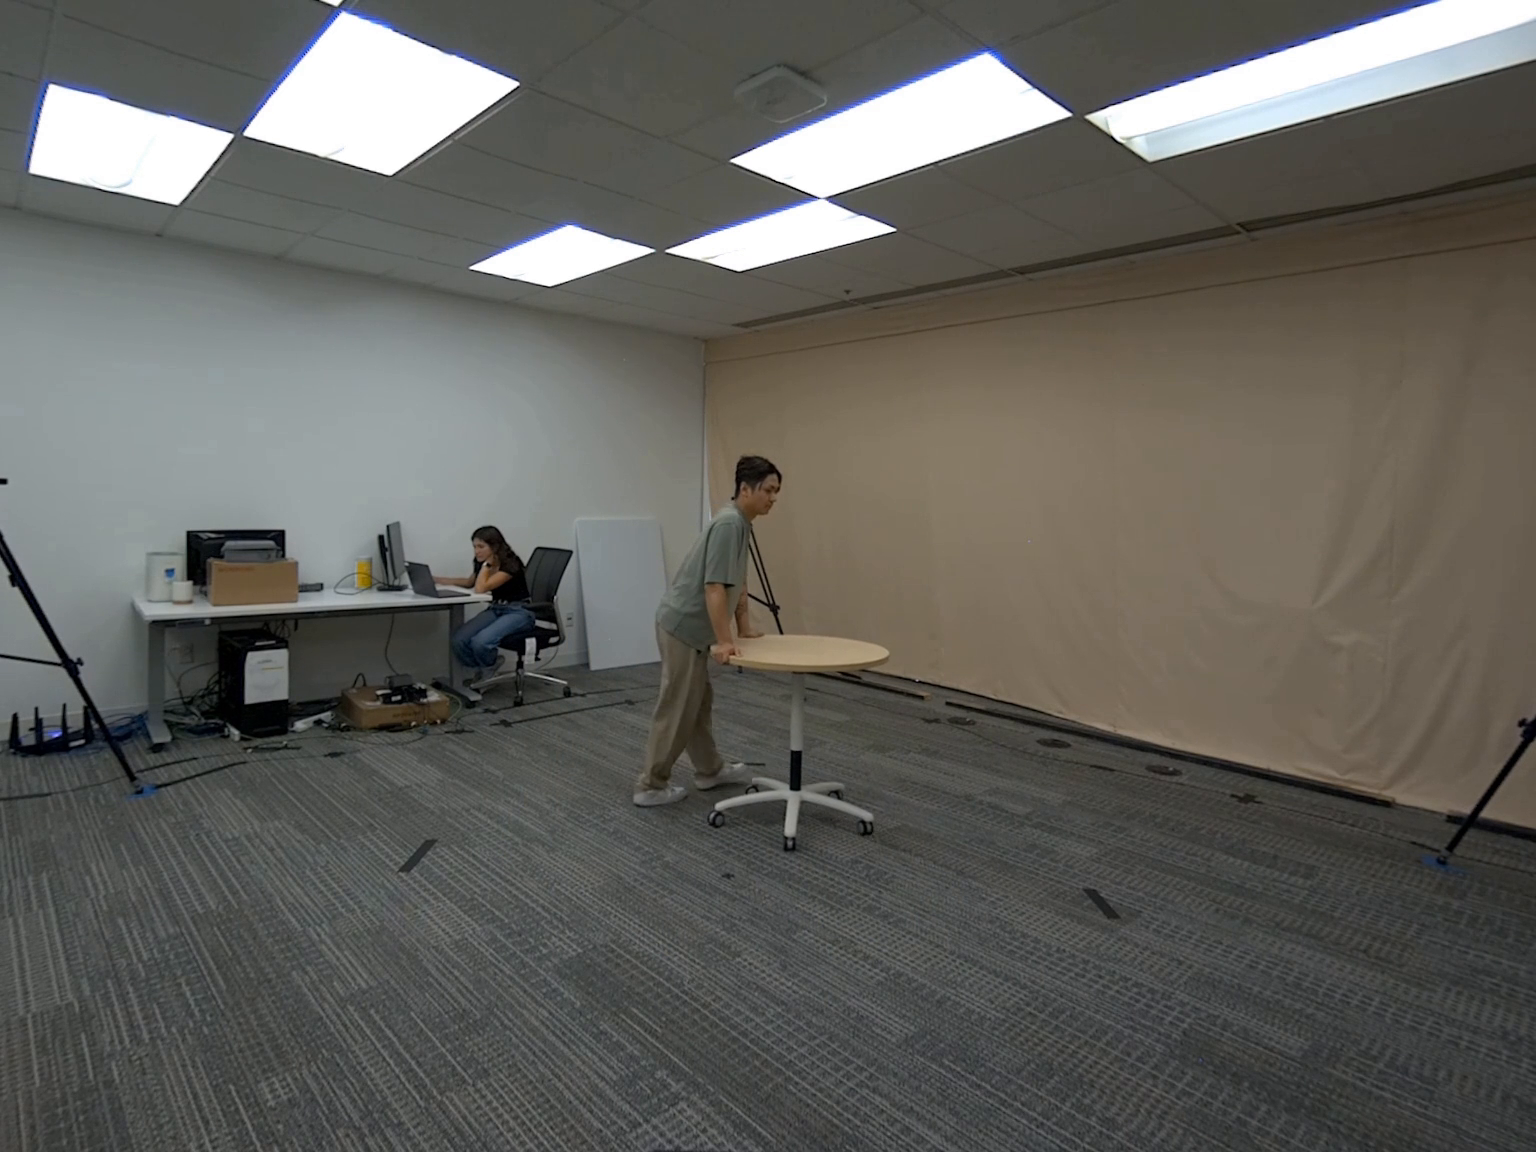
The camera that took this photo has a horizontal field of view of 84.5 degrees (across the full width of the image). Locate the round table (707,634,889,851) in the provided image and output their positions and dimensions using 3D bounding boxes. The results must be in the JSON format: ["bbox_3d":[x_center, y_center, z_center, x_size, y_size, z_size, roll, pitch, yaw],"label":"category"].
[{"bbox_3d":[0.109,0.692,3.624,0.784,0.785,0.787,1,3,-1],"label":"round table"}]
